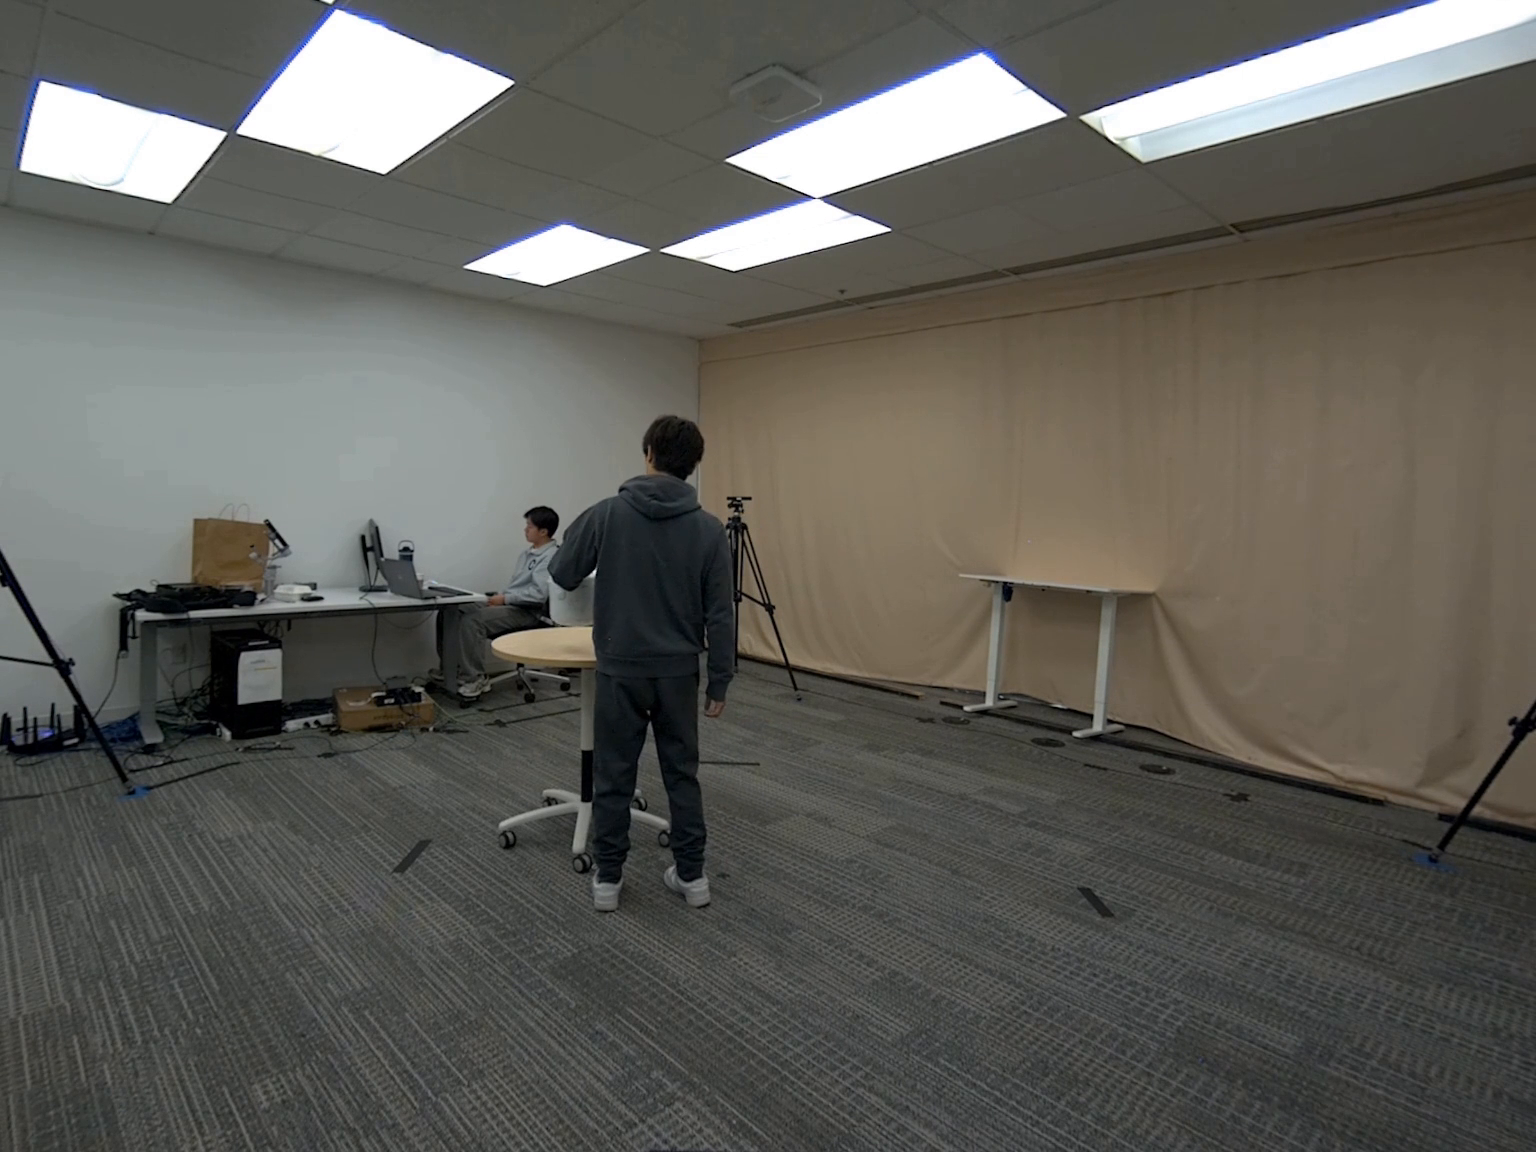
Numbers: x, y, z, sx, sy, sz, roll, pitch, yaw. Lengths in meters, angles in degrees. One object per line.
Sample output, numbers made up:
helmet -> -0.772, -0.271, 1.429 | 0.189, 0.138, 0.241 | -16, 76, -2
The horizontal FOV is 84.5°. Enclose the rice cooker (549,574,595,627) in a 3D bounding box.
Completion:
rice cooker -> -0.725, 0.063, 3.217 | 0.222, 0.231, 0.218 | 6, 12, 25
